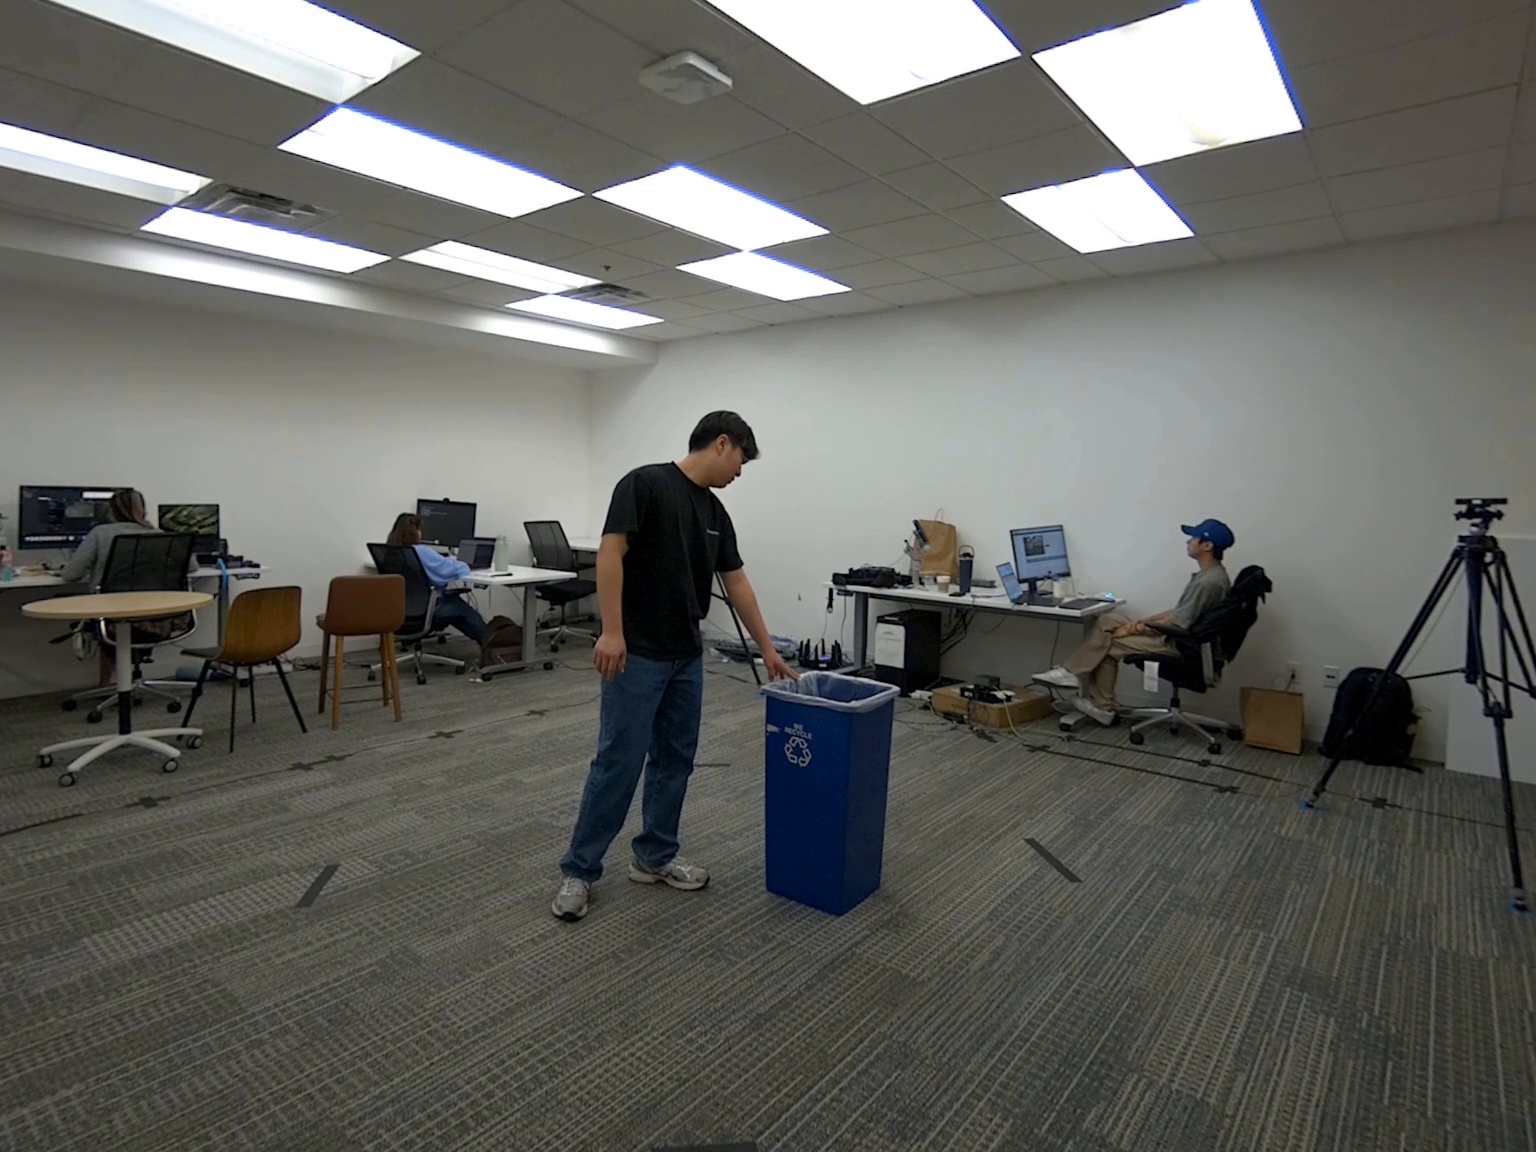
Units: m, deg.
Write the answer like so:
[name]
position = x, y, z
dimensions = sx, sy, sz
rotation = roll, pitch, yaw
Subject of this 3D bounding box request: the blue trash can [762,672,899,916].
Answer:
[blue trash can]
position = 0.207, 0.738, 2.963
dimensions = 0.386, 0.711, 0.367
rotation = 3, 4, 34
